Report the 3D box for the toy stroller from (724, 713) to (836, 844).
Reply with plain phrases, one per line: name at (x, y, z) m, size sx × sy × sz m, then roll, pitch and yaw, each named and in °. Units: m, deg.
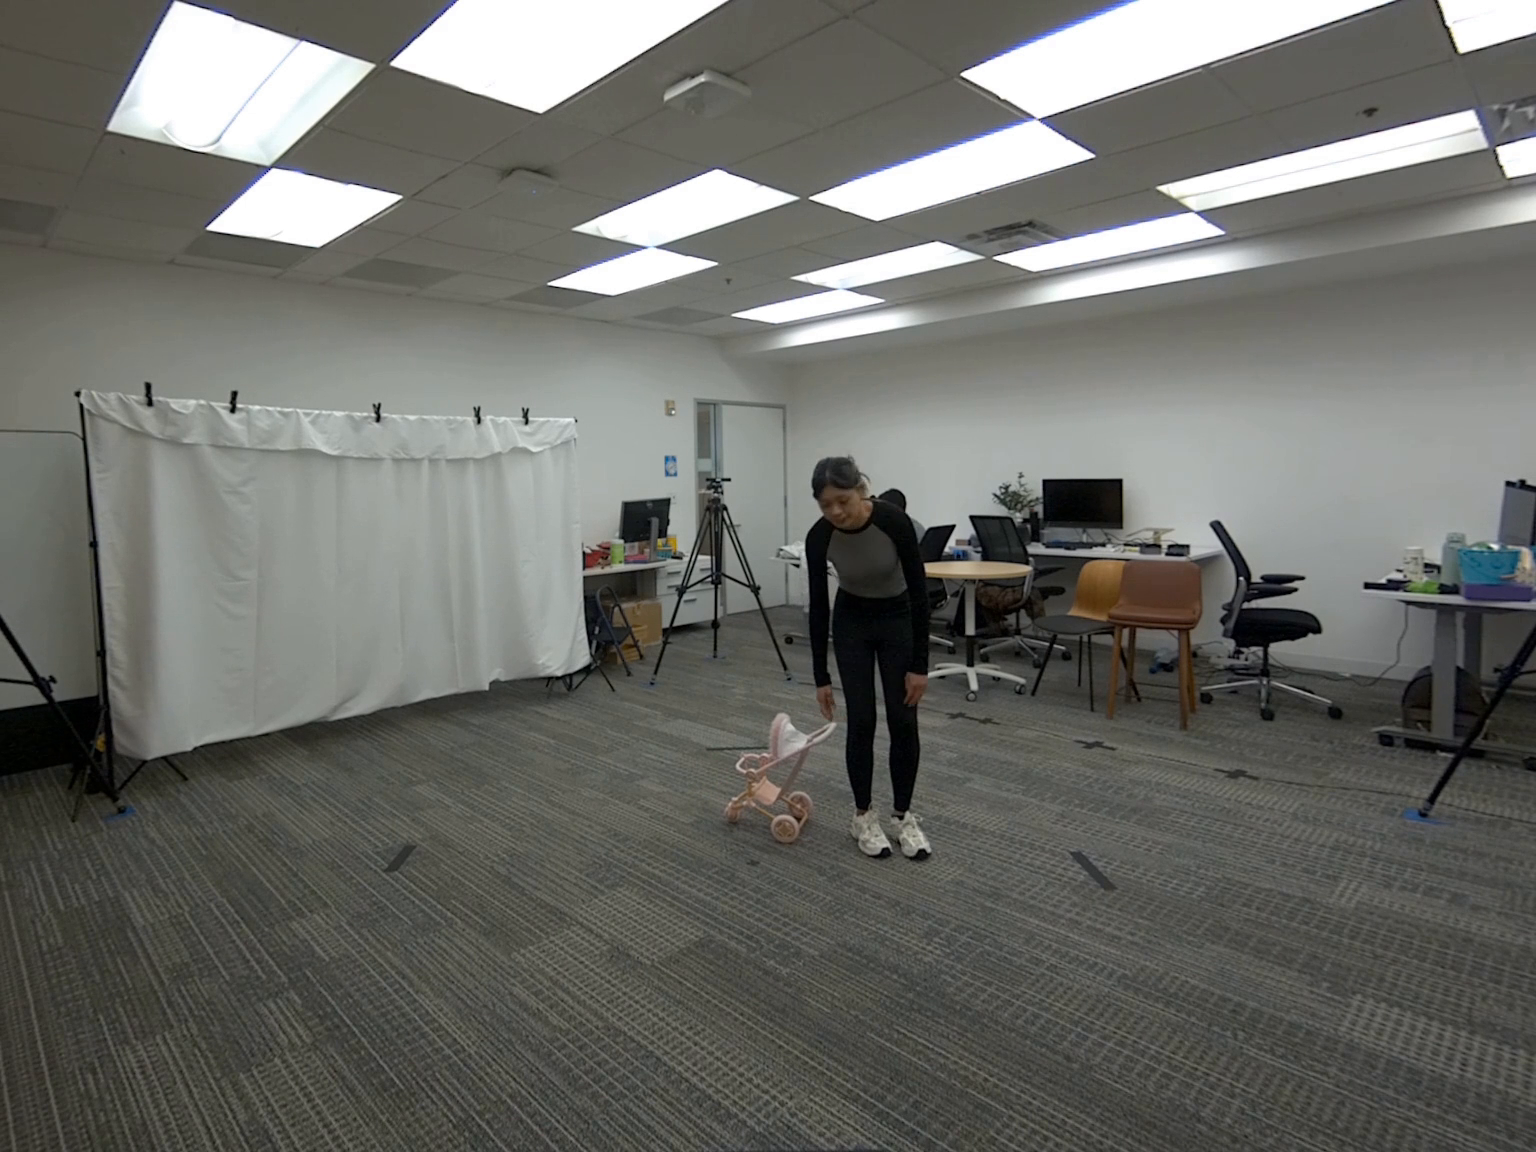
toy stroller at (0.038, 0.785, 3.398) m, size 0.350 × 0.531 × 0.276 m, roll 19°, pitch 11°, yaw 20°
